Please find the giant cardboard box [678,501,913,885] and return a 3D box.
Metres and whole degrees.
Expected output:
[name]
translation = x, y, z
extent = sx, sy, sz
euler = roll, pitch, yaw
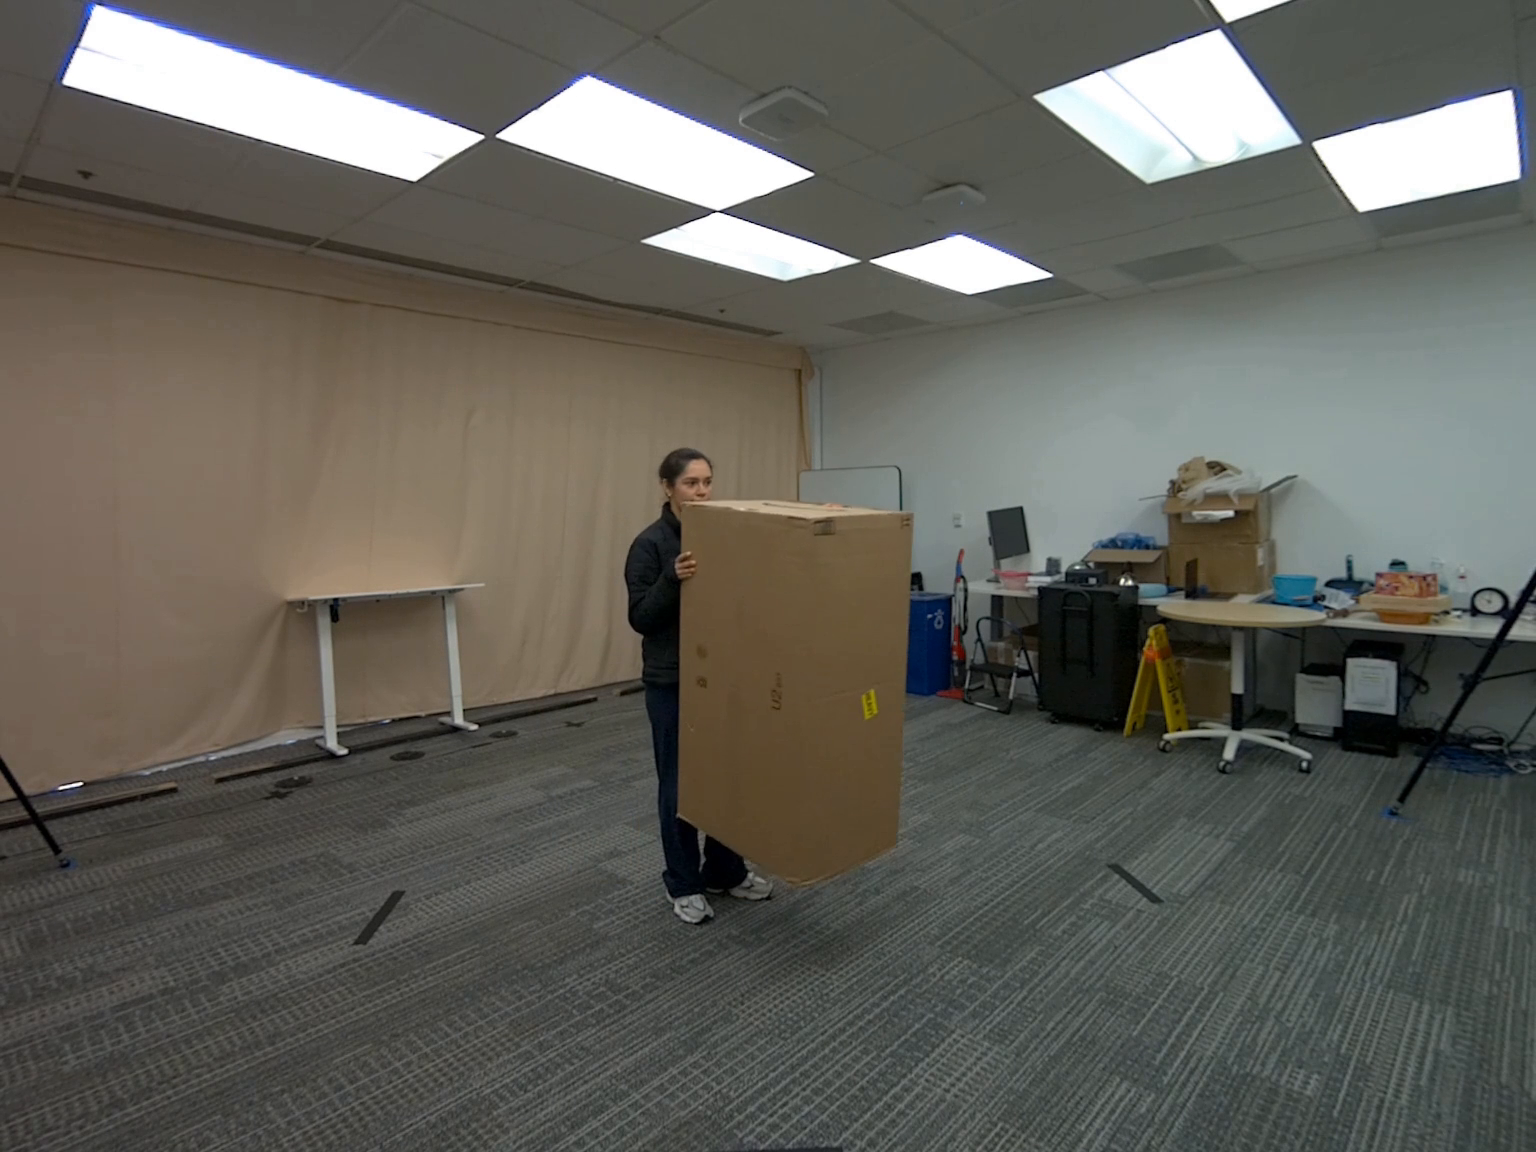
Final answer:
[giant cardboard box]
translation = 0.082, 0.304, 2.596
extent = 0.413, 1.021, 0.597
euler = -4, 9, -41
